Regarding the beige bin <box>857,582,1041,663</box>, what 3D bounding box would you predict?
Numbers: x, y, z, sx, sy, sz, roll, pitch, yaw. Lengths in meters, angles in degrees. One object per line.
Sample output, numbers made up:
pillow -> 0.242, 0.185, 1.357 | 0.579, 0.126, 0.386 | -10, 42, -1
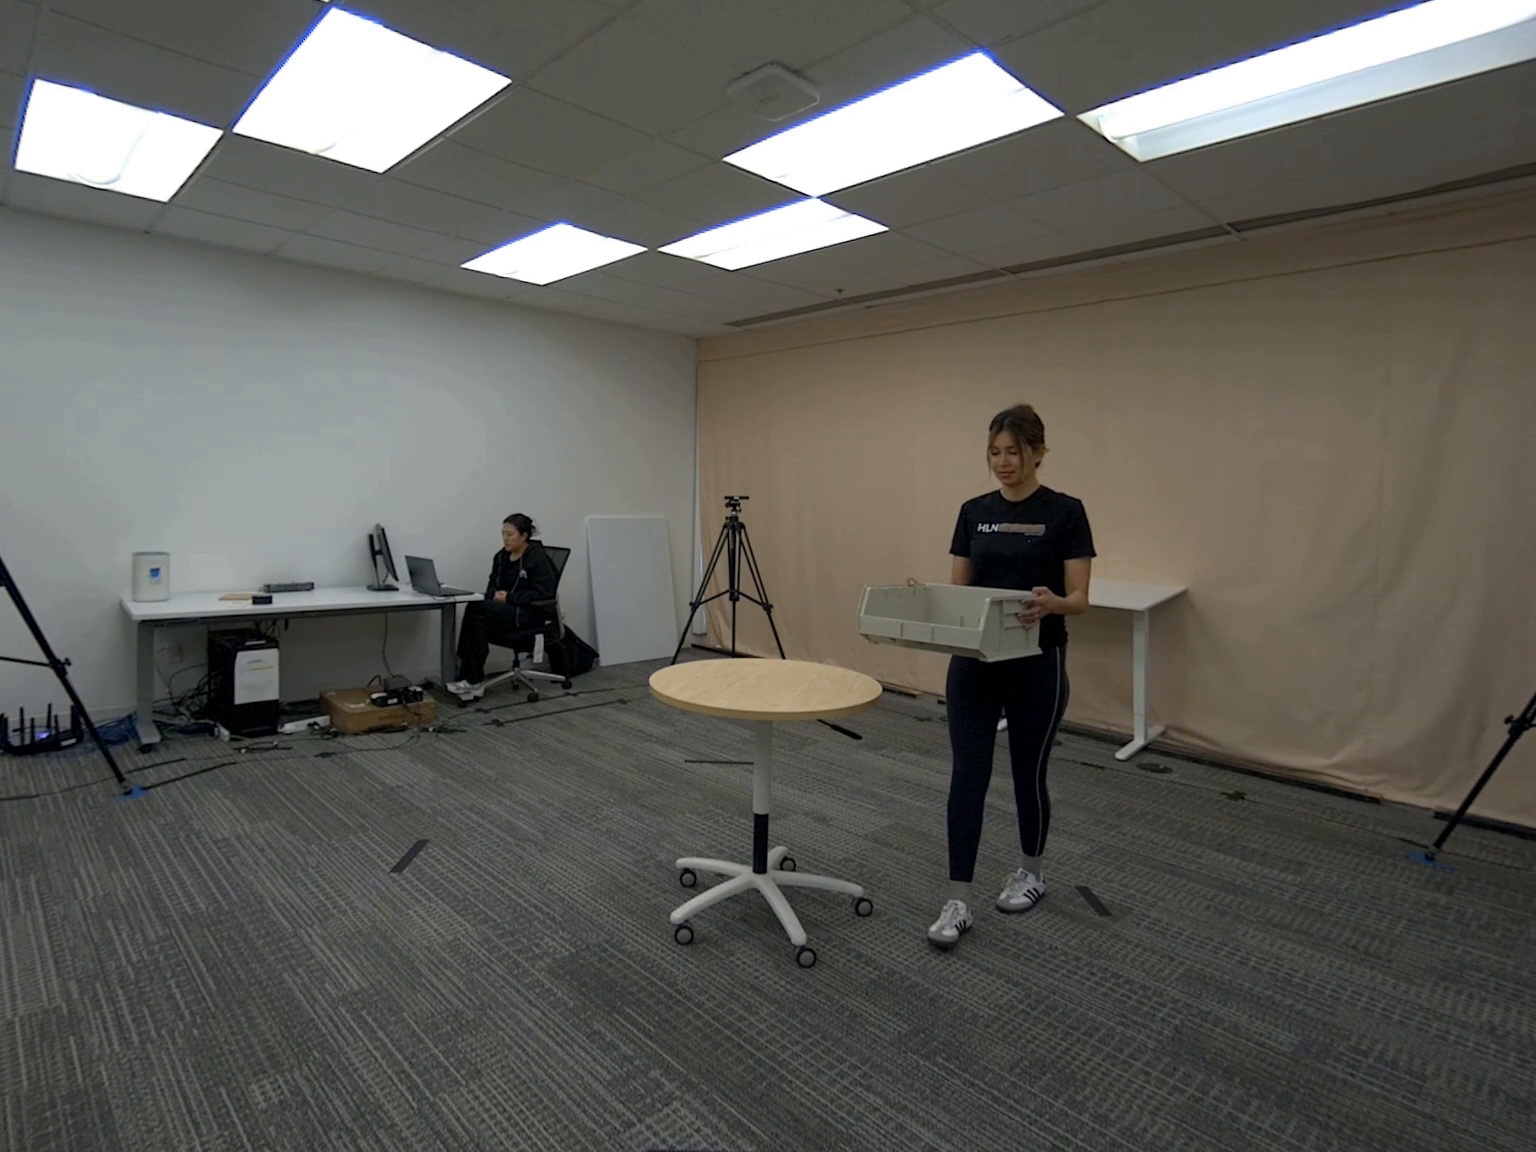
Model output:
beige bin -> 0.532, 0.130, 2.503 | 0.433, 0.189, 0.368 | 4, 2, 45
